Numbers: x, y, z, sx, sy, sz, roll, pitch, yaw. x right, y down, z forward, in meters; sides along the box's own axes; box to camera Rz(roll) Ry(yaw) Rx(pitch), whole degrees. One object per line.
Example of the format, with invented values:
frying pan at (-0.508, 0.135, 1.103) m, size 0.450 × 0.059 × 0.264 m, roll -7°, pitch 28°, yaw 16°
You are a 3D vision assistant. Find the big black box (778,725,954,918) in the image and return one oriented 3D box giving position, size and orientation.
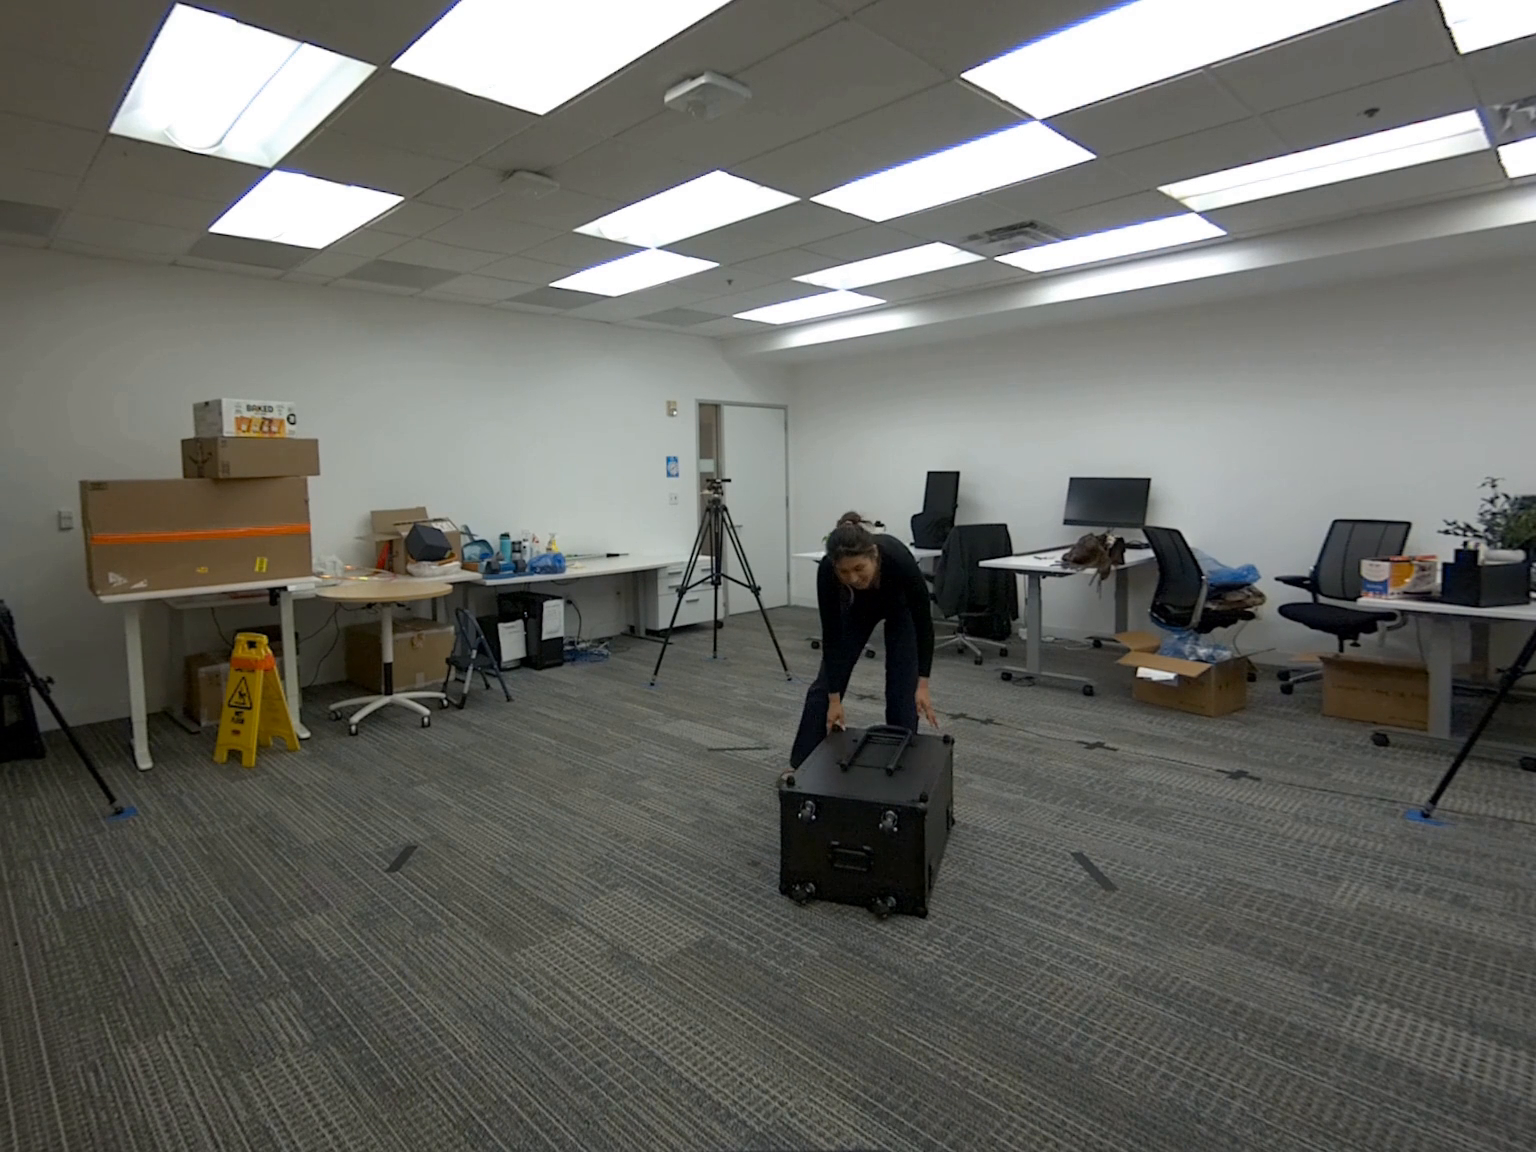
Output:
big black box at (0.380, 0.847, 3.092) m, size 0.531 × 0.394 × 0.850 m, roll 1°, pitch 8°, yaw 19°
